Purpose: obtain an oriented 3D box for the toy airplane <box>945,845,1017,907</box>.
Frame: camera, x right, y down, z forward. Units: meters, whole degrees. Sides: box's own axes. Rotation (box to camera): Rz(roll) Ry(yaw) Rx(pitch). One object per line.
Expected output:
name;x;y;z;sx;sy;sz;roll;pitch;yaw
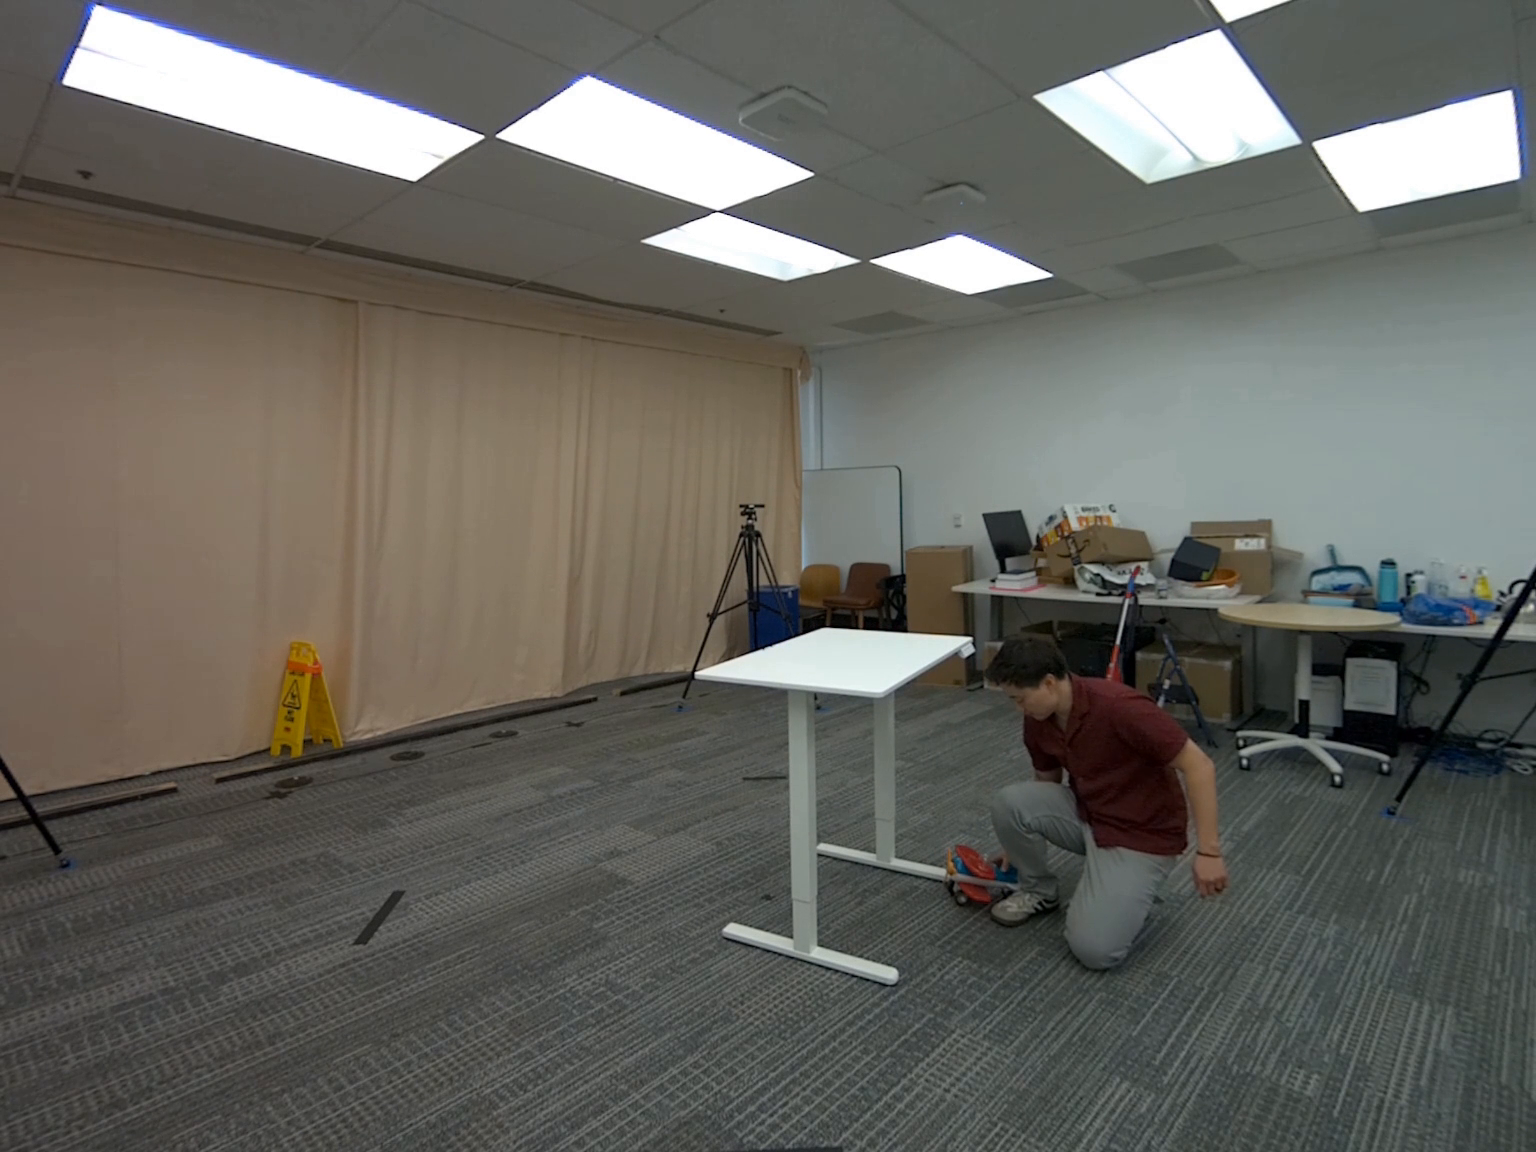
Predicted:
toy airplane;0.749;1.053;2.953;0.252;0.156;0.258;-4;5;-30
